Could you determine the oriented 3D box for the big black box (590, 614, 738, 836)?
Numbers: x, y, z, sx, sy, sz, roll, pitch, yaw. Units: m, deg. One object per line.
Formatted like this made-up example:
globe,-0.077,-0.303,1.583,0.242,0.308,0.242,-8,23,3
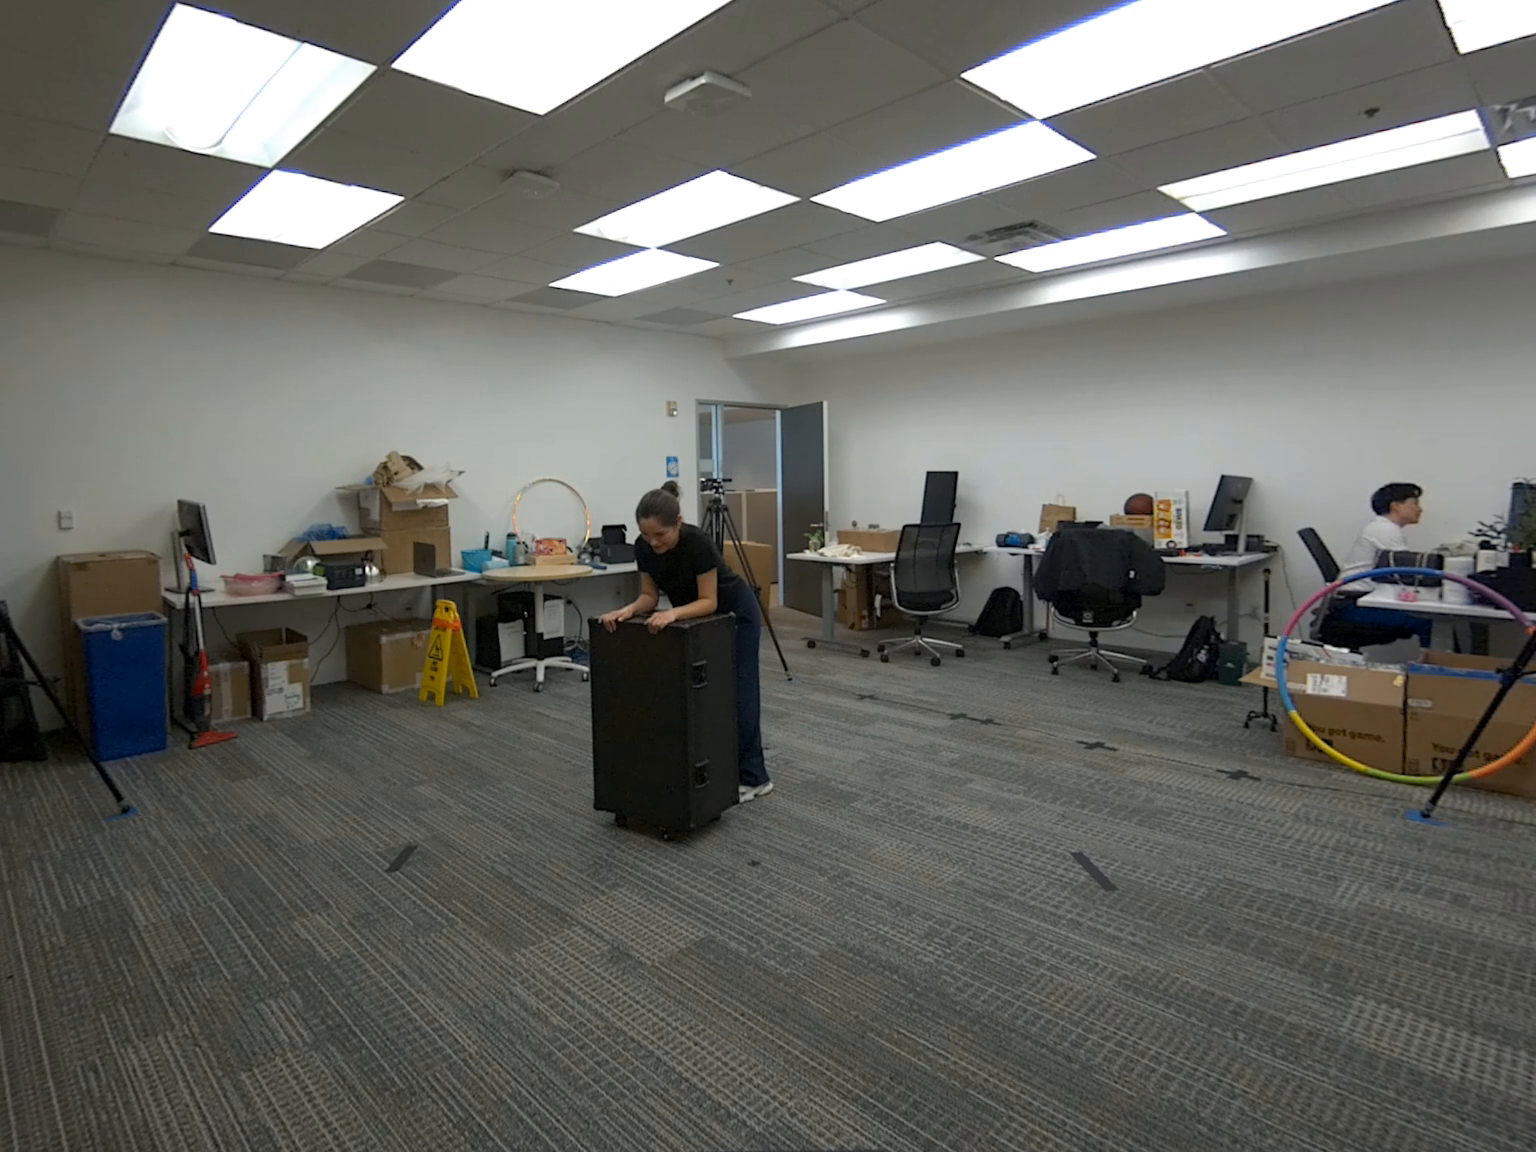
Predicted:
big black box,-0.415,0.524,3.479,0.535,0.859,0.387,1,4,32
